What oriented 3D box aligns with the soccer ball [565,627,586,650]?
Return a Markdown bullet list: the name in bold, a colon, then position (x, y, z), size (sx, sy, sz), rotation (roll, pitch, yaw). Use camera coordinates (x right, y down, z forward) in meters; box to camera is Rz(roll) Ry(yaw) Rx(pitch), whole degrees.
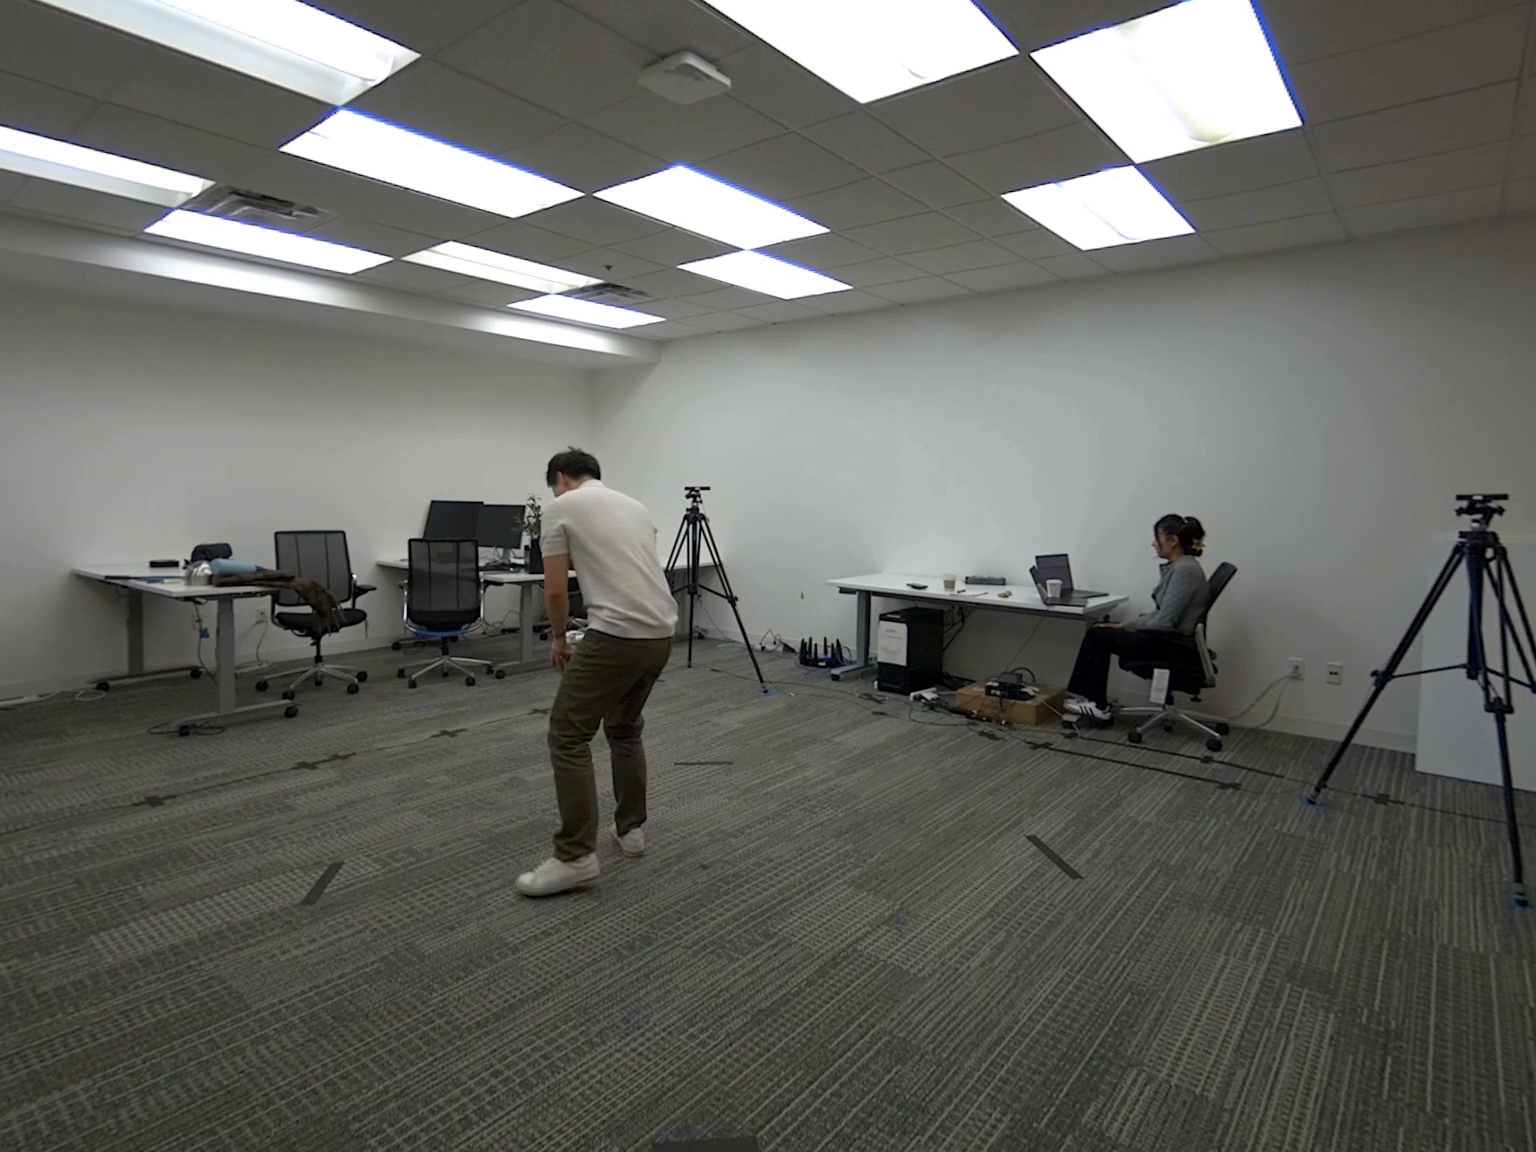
- **soccer ball**: position (-0.771, 0.314, 3.347), size (0.187, 0.187, 0.188), rotation (1, 4, -2)
